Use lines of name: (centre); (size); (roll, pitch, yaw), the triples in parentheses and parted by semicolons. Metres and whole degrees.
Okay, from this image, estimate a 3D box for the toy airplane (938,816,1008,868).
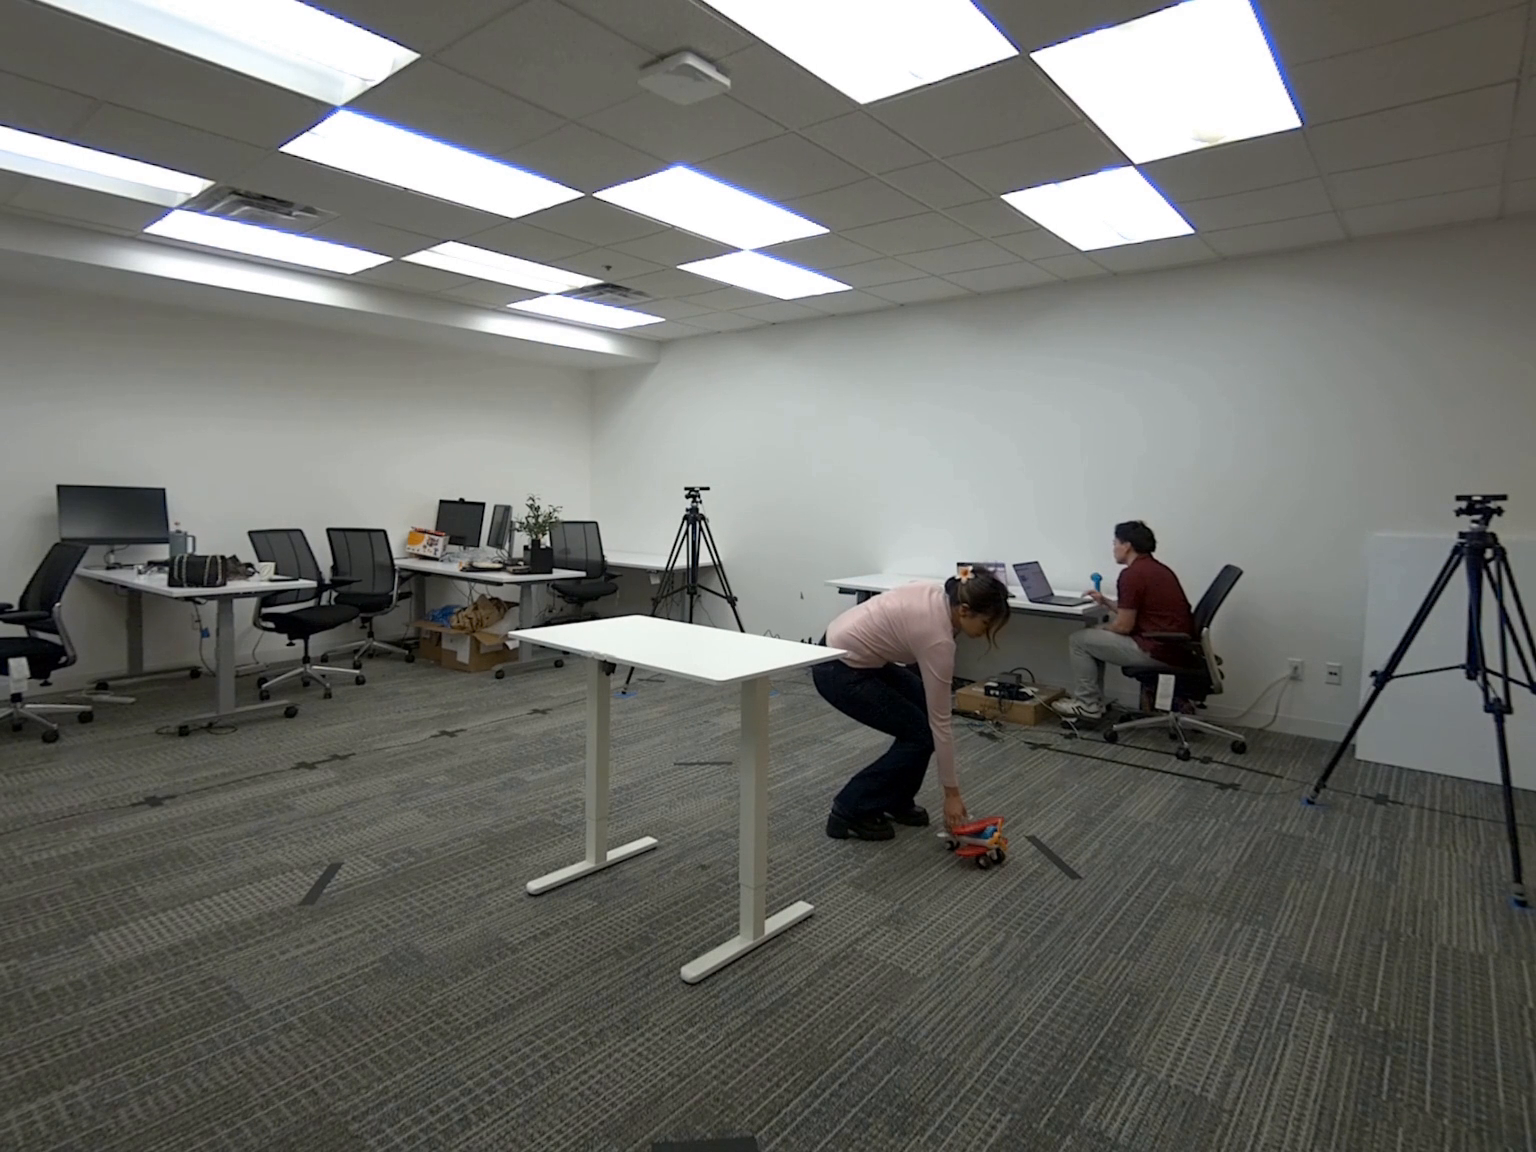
toy airplane: (0.765, 0.998, 3.239); (0.266, 0.156, 0.246); (5, 6, 23)
